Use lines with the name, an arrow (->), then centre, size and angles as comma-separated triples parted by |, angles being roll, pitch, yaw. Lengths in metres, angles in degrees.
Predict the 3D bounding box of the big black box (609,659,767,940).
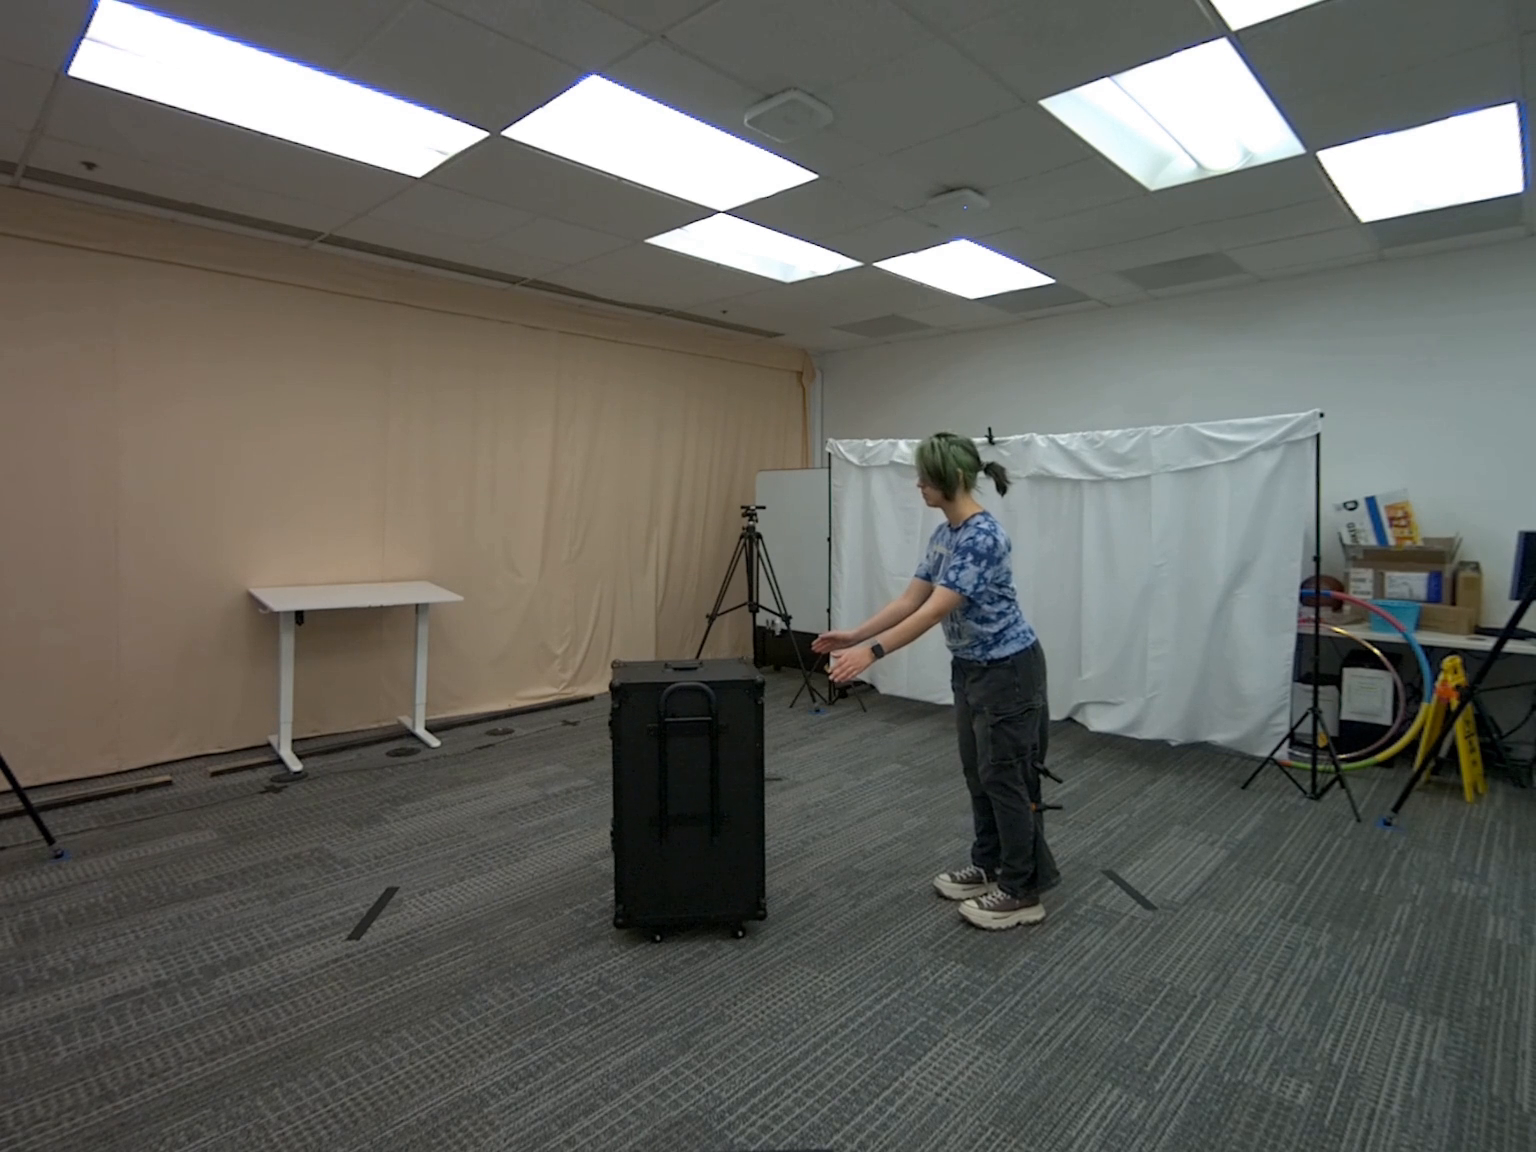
big black box -> -0.259, 0.738, 2.808 | 0.518, 0.859, 0.400 | -1, 4, -7
